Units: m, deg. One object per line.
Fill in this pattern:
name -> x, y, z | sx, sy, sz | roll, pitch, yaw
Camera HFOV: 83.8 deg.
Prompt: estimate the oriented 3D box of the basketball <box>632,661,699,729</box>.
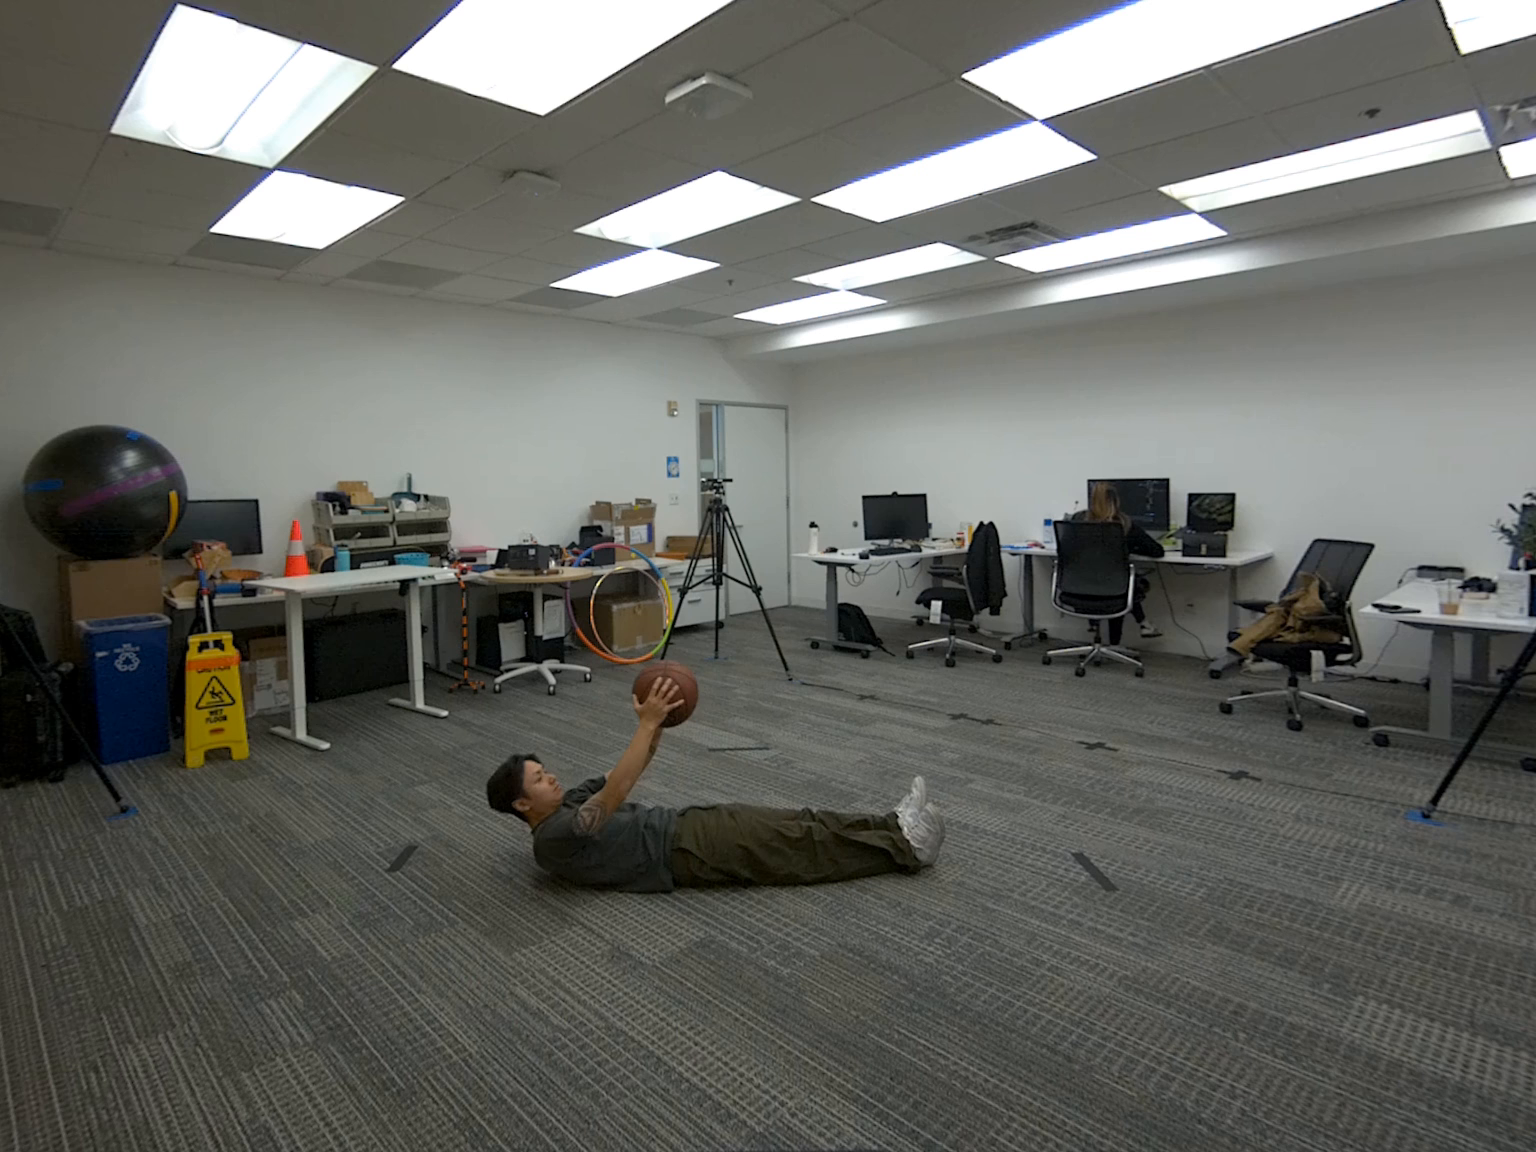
basketball -> -0.361, 0.423, 3.047 | 0.236, 0.235, 0.237 | -1, 5, -2
